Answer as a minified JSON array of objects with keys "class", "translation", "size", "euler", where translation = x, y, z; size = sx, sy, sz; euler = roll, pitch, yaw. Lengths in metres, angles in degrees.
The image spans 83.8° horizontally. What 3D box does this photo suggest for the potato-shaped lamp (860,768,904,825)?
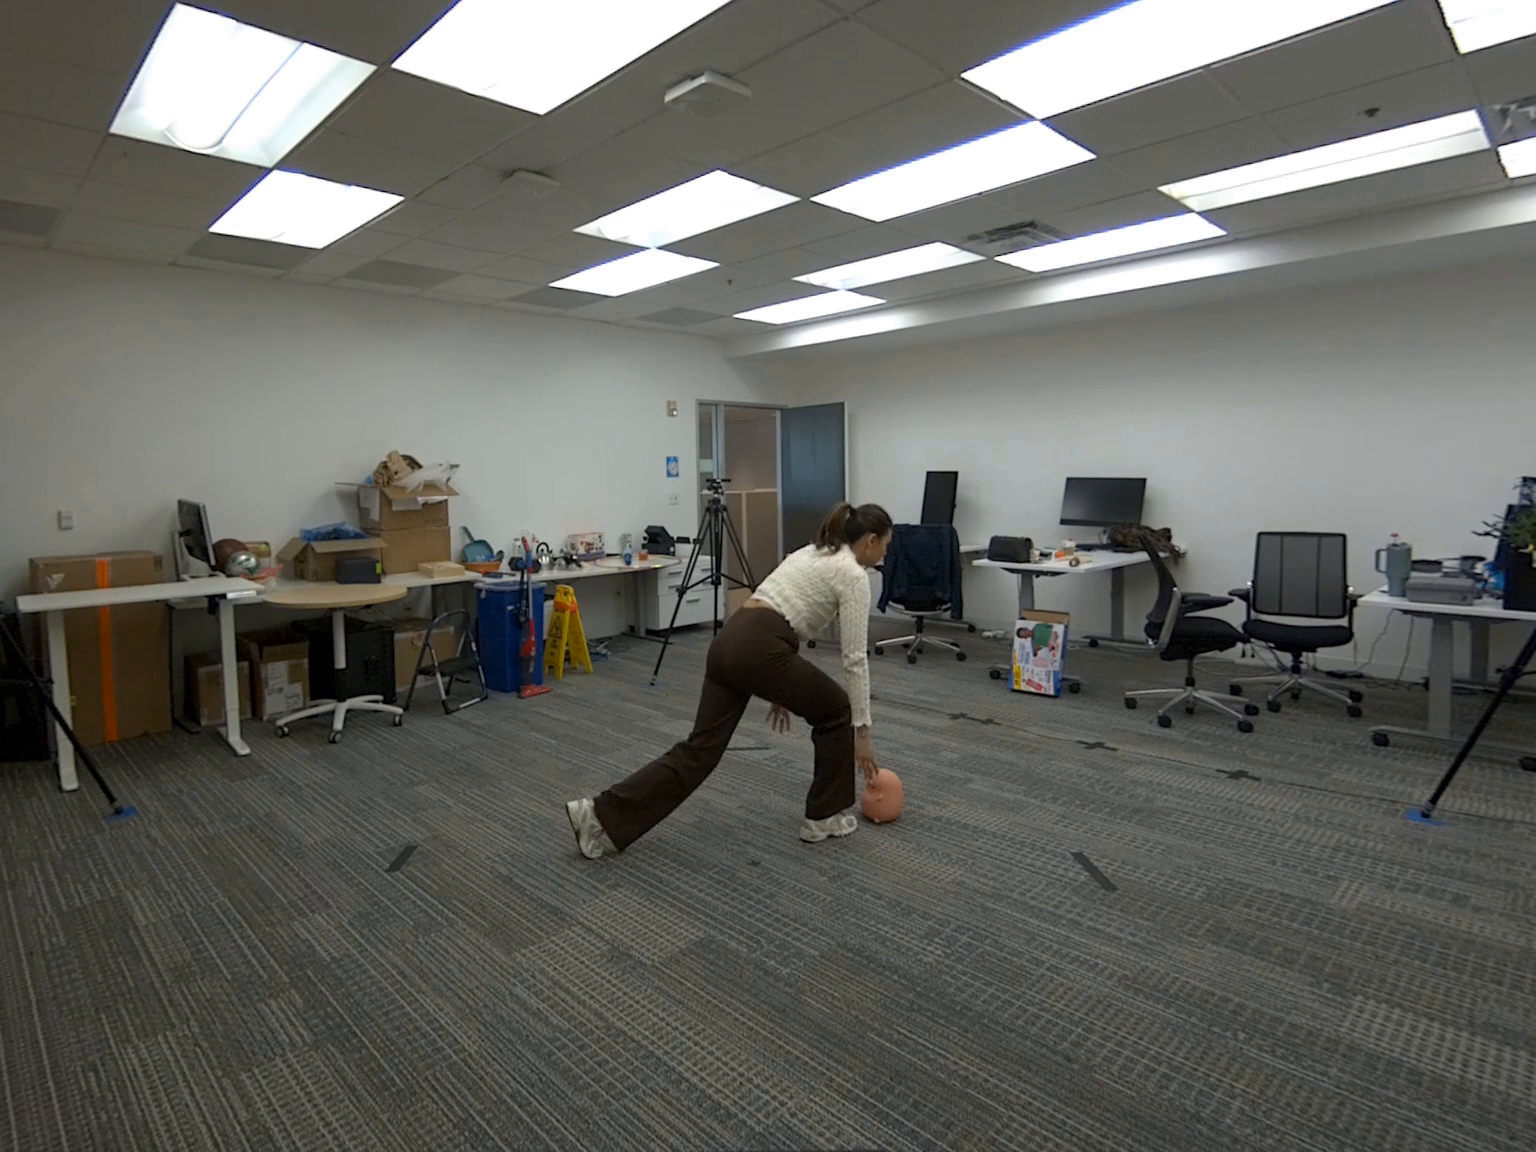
[{"class":"potato-shaped lamp","translation":[0.467,0.887,3.498],"size":[0.168,0.197,0.168],"euler":[-3,4,-23]}]
